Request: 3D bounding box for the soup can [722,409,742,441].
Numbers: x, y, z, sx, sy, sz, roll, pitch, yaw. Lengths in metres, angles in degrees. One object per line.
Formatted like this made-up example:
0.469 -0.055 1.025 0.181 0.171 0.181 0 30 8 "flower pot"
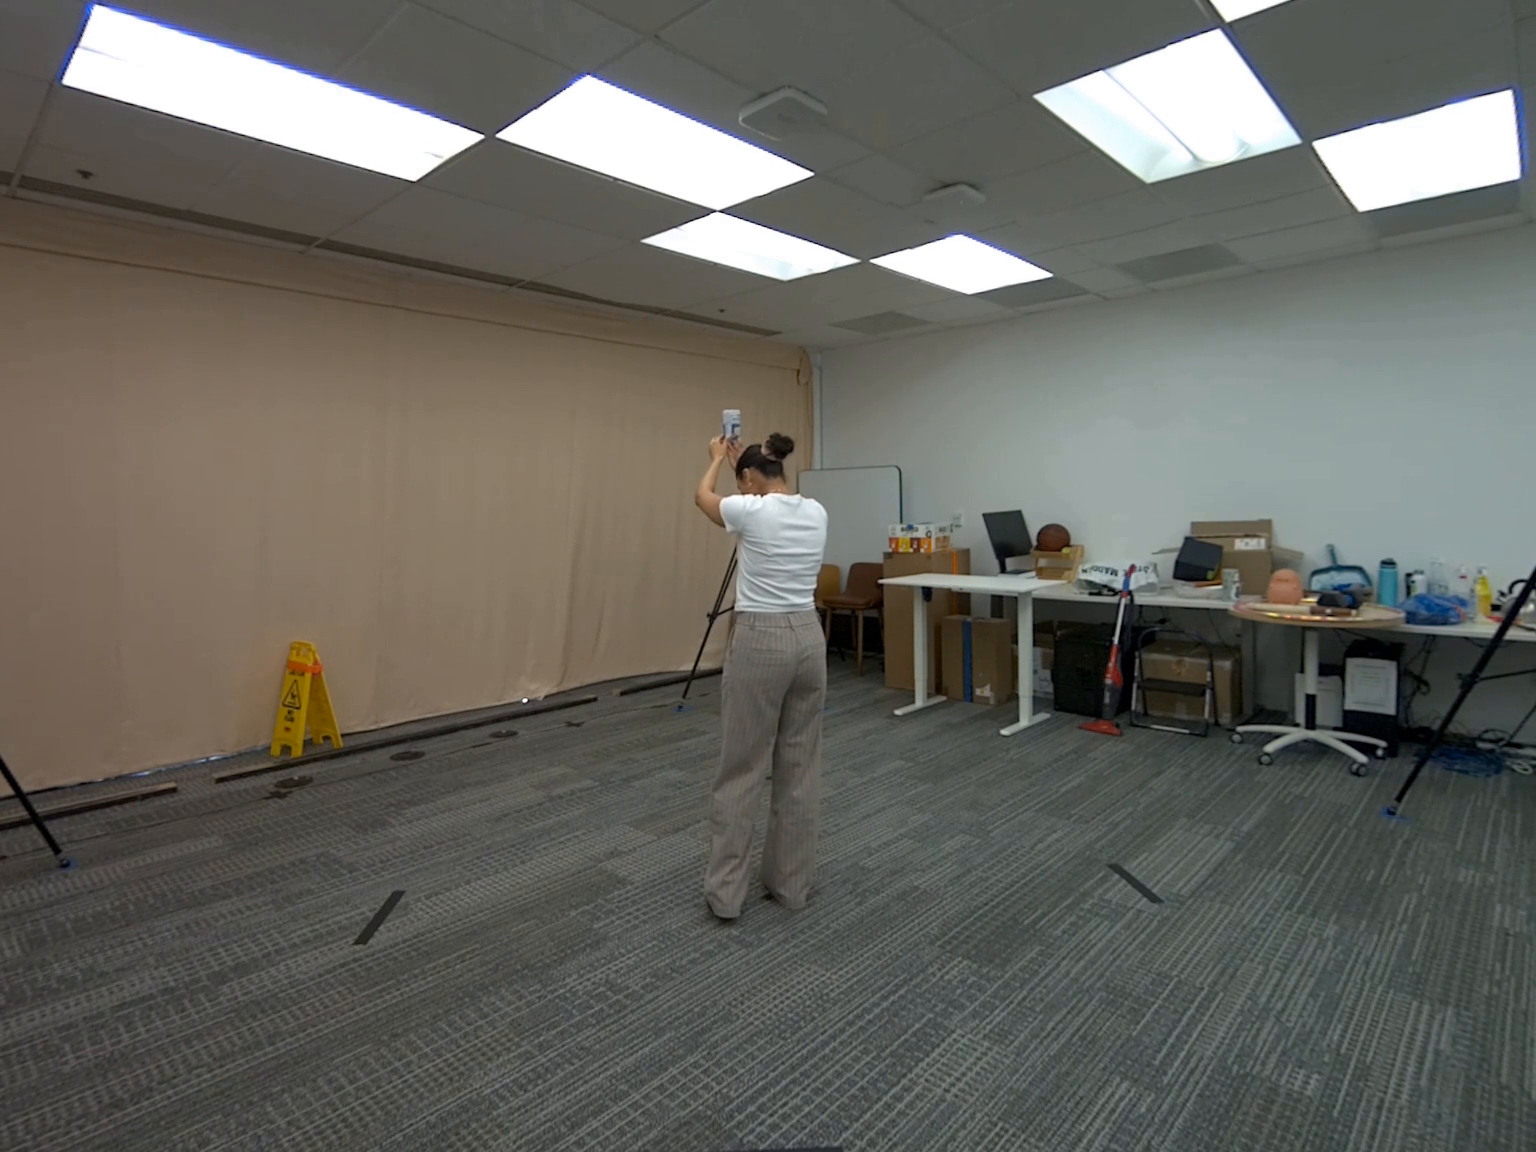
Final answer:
-0.136 -0.591 3.290 0.067 0.121 0.067 -1 6 -2 "soup can"
